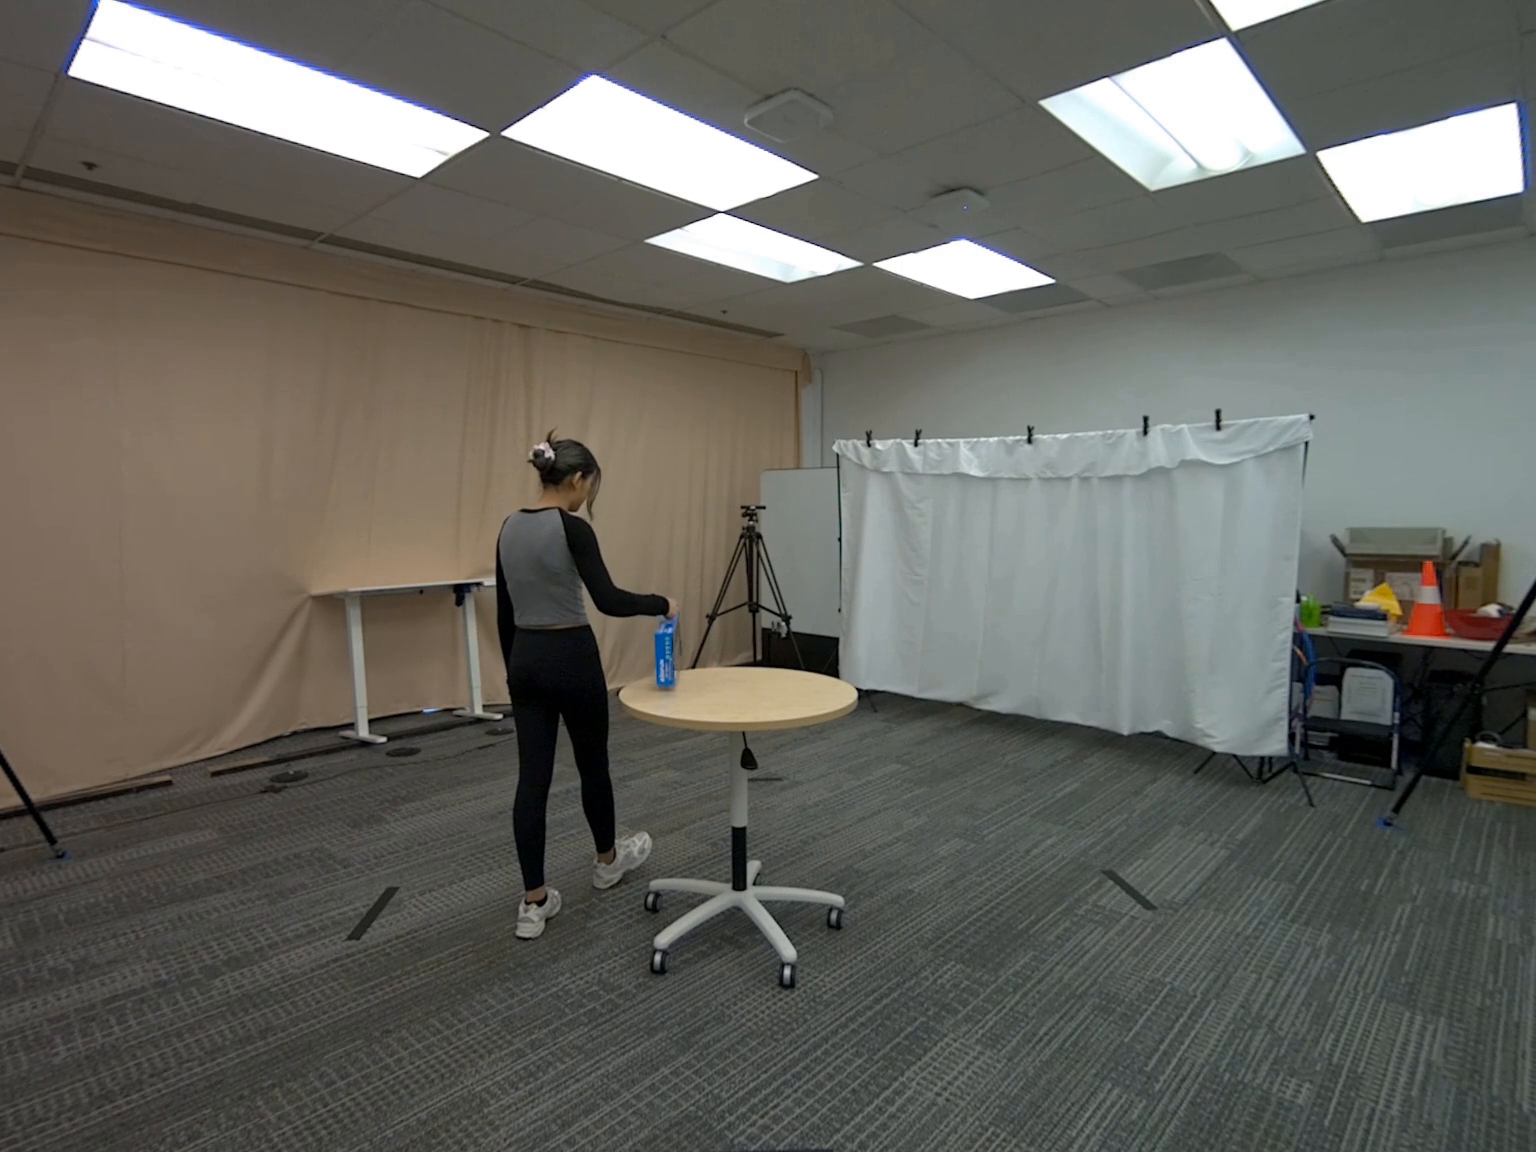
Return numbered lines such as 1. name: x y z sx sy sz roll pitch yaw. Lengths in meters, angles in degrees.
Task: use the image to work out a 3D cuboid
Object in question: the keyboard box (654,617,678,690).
1. keyboard box: -0.341 0.242 2.923 0.059 0.175 0.439 -2 7 -3
